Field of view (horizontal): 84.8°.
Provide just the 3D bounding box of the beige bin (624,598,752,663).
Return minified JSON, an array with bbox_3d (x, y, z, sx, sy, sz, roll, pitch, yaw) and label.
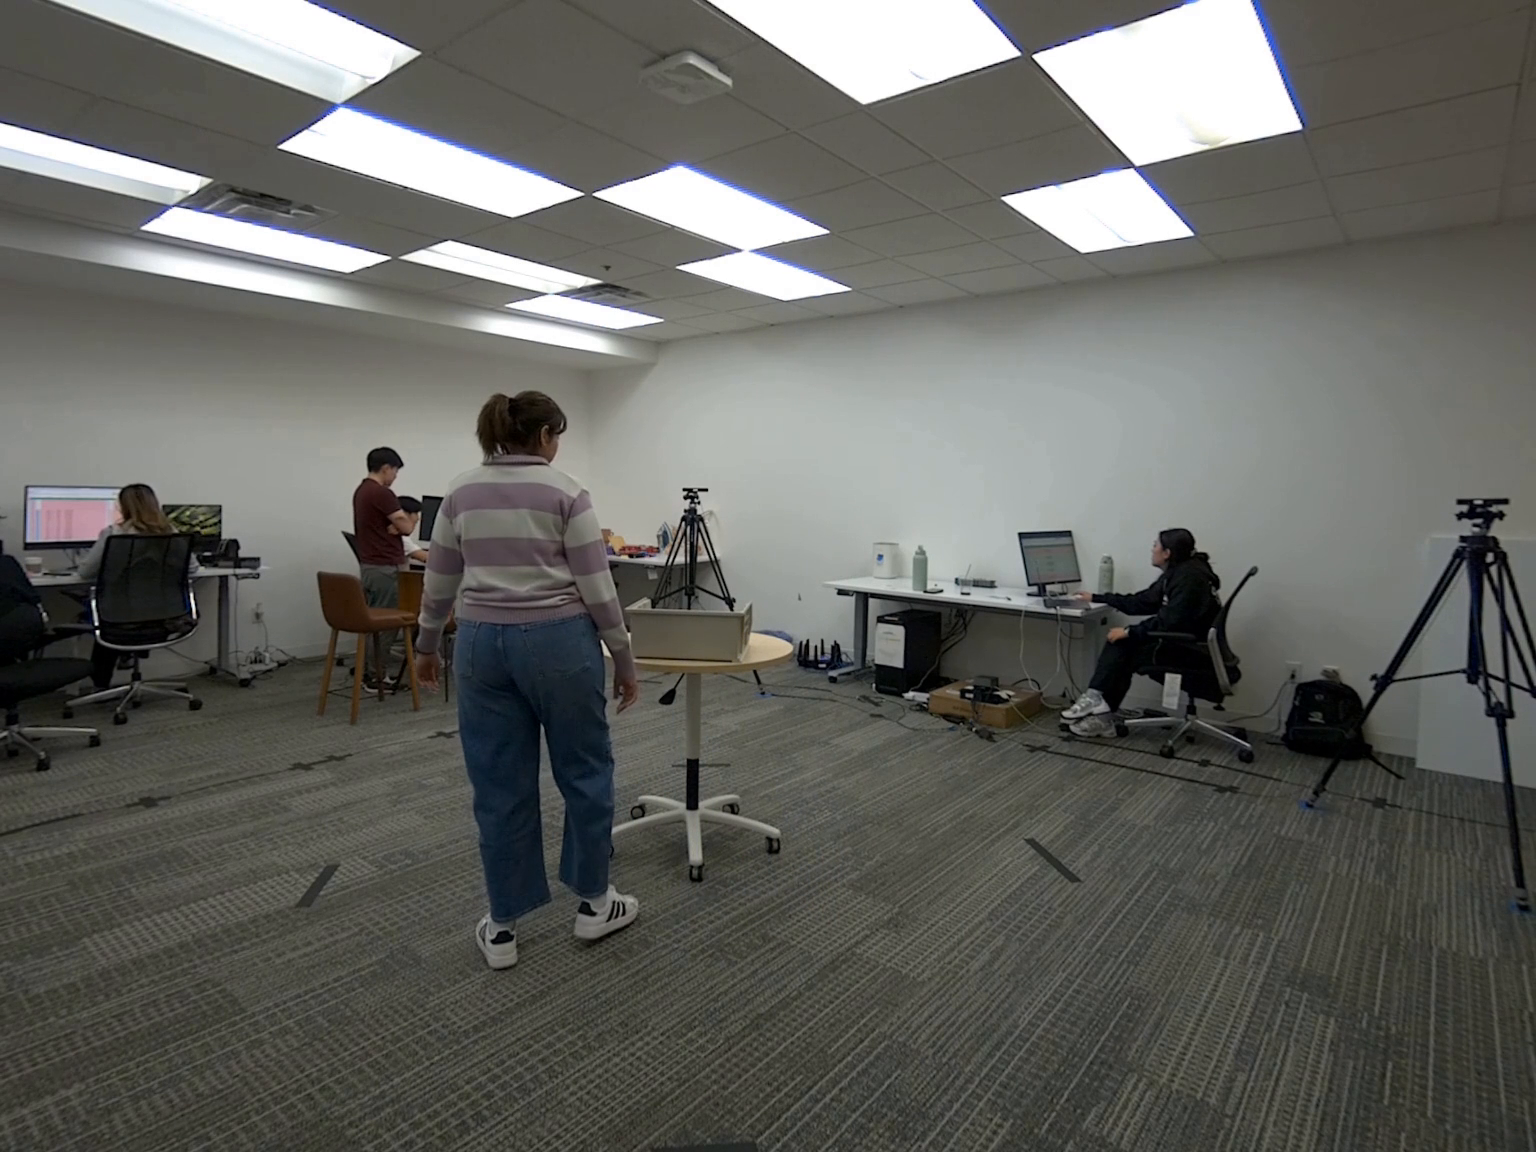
[{"bbox_3d":[-0.298,0.189,3.181,0.426,0.188,0.376,1,6,7],"label":"beige bin"}]
